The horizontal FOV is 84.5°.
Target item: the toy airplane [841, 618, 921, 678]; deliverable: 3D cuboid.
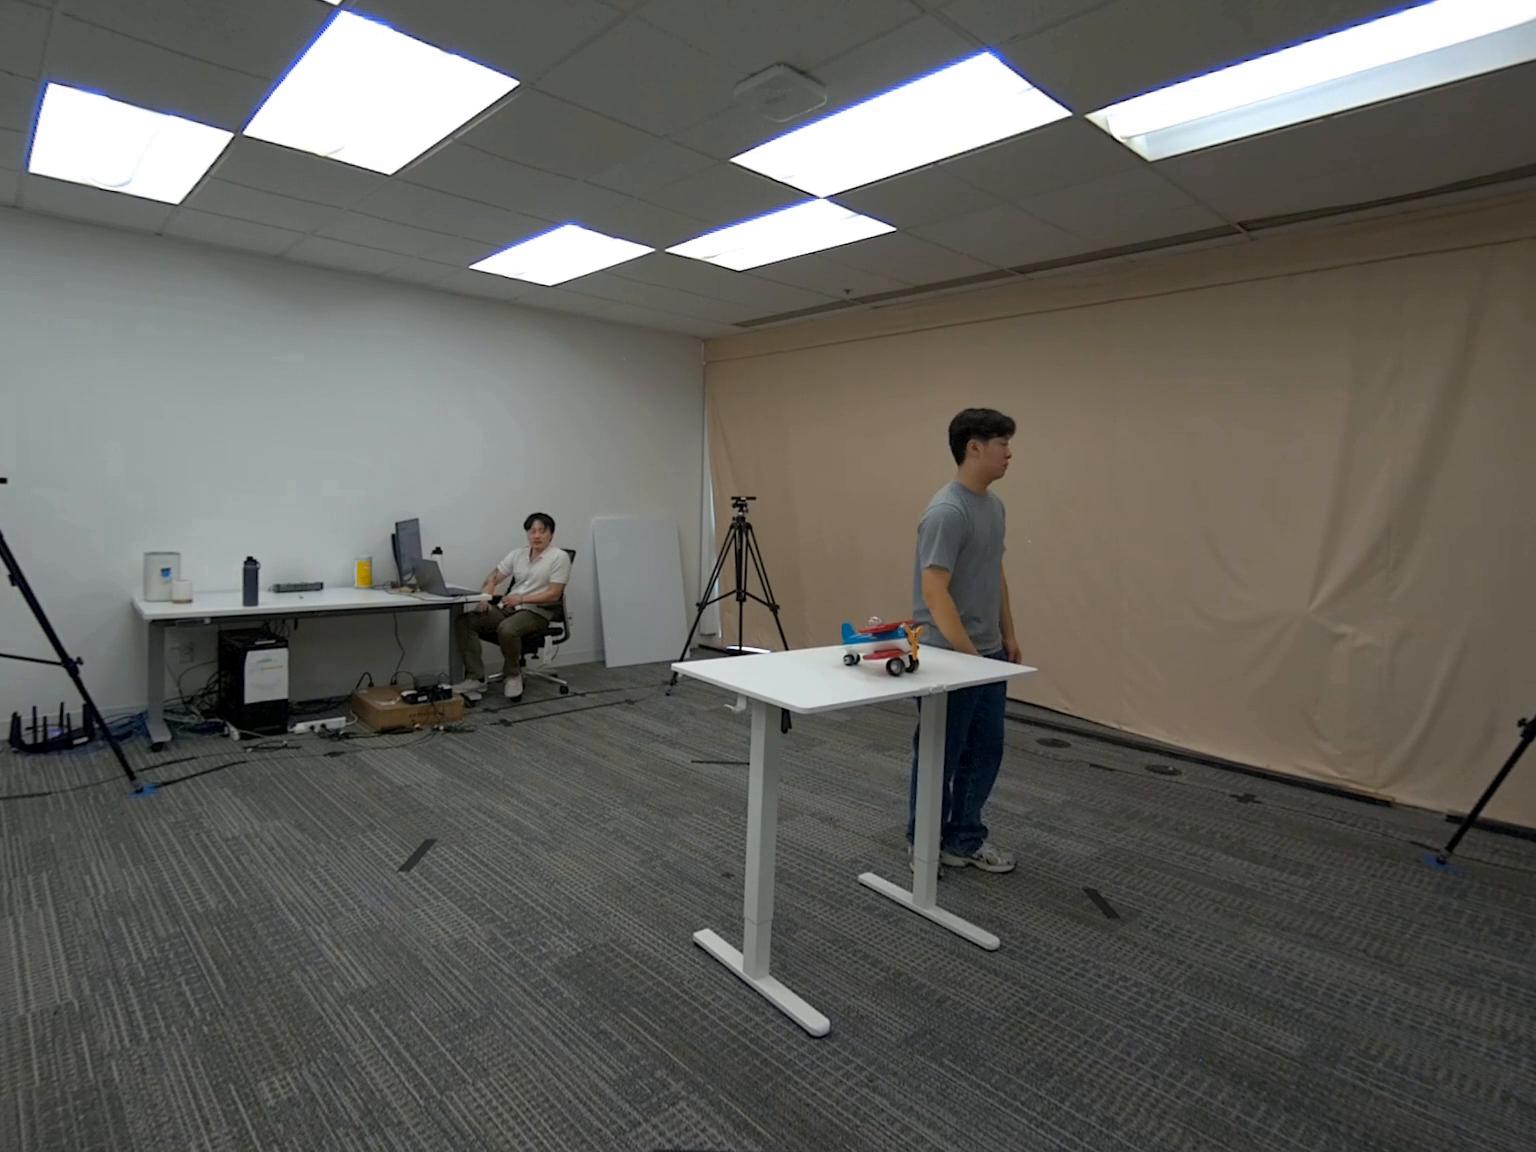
[{"bbox_3d":[0.325,0.211,2.537,0.262,0.156,0.249,4,4,11],"label":"toy airplane"}]
